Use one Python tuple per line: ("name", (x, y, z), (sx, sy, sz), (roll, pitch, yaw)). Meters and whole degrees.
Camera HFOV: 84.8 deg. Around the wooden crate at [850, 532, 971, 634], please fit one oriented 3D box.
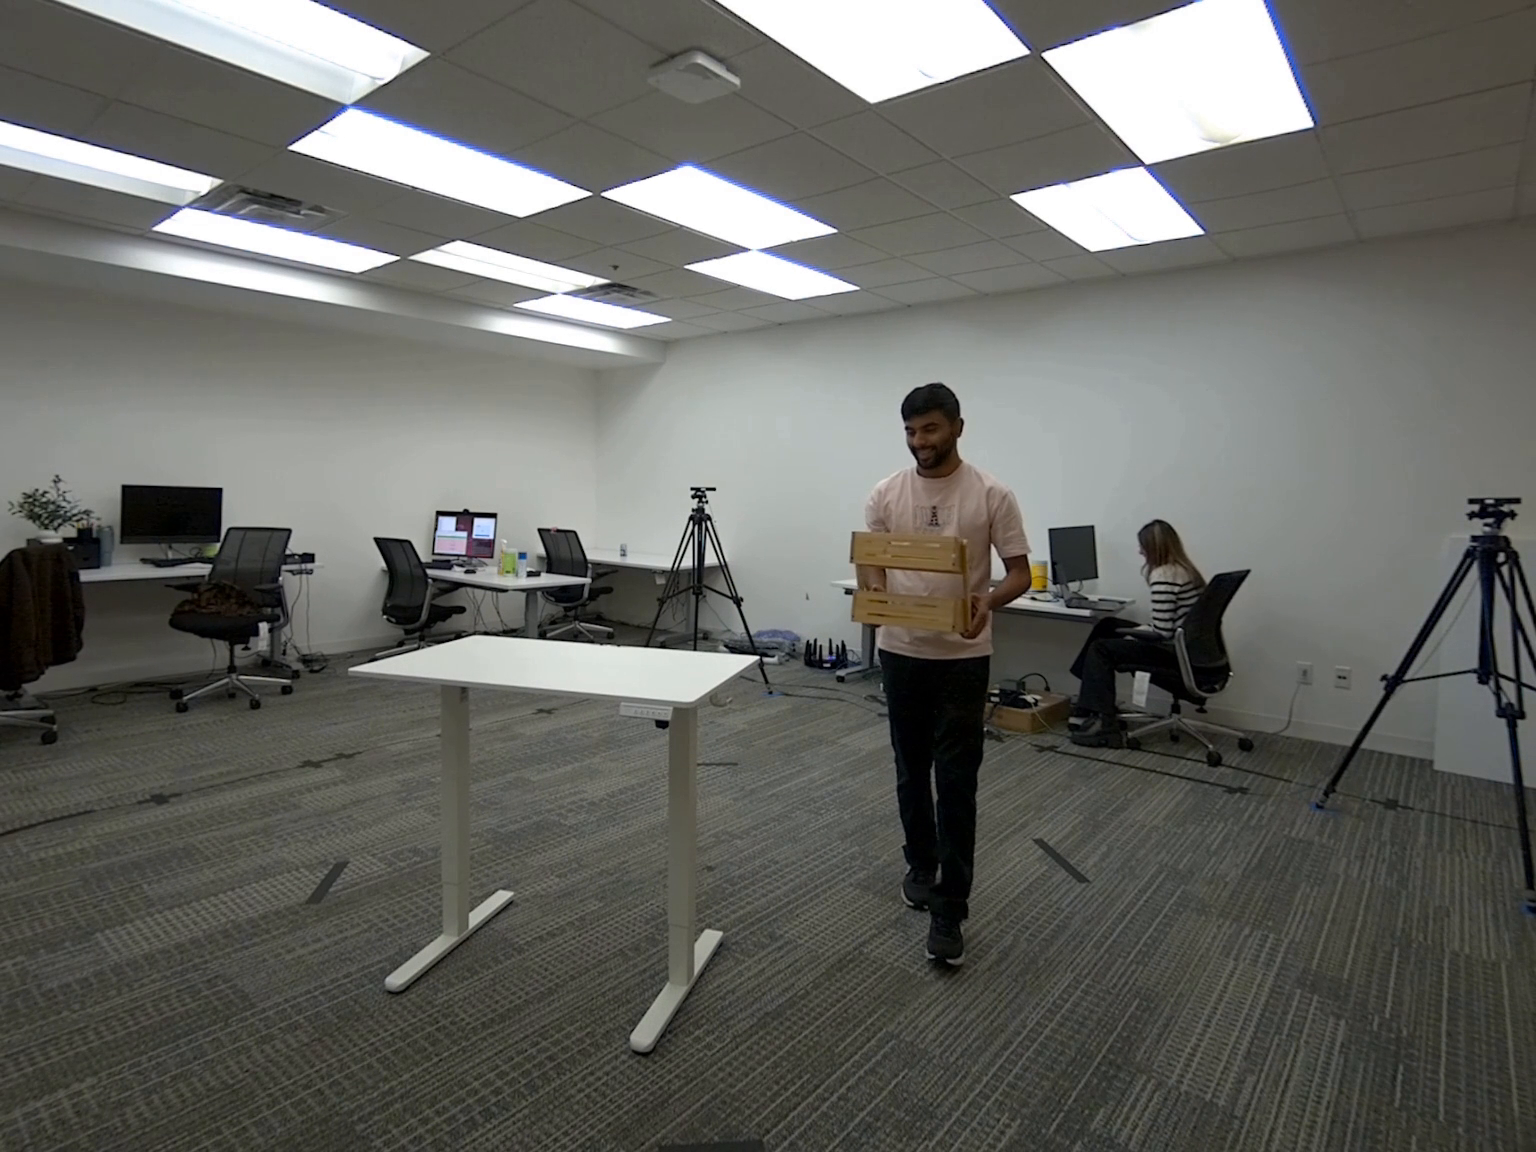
("wooden crate", (0.424, 0.011, 2.492), (0.333, 0.274, 0.293), (3, -2, 26))
